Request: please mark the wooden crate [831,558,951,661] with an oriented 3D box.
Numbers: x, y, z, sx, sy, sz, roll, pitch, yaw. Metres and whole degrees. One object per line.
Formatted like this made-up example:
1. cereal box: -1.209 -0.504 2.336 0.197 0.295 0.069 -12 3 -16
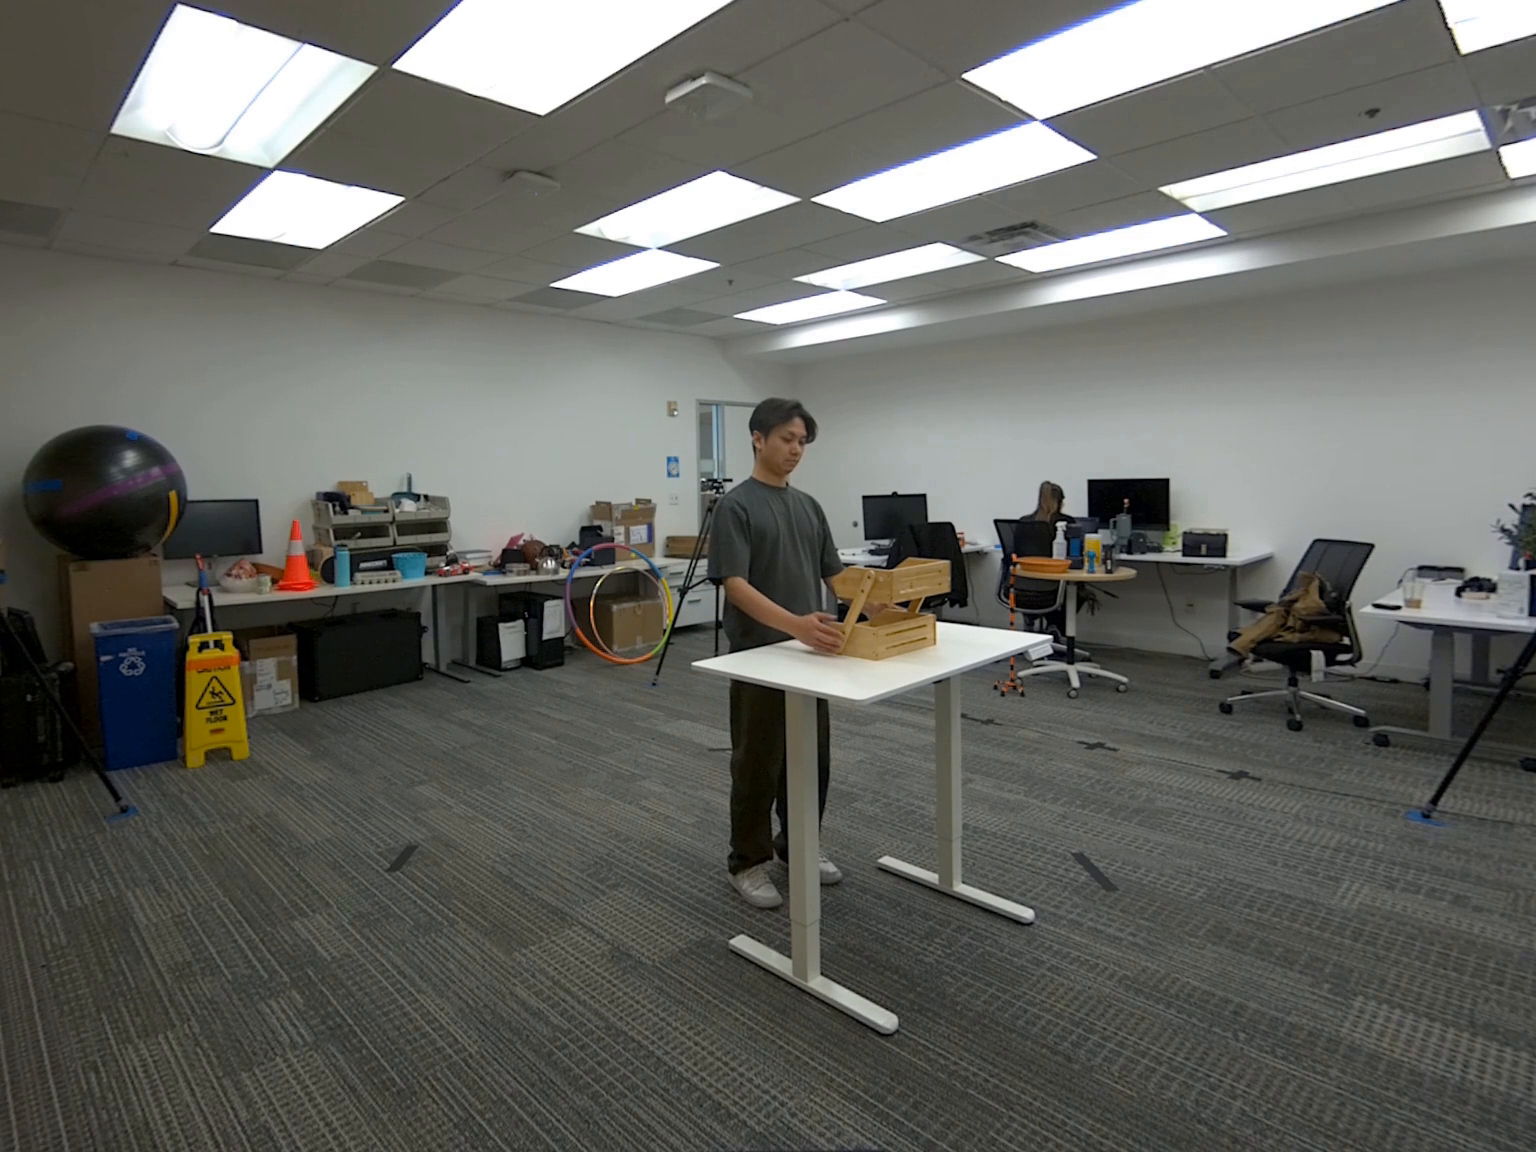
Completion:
1. wooden crate: 0.336 0.084 2.566 0.316 0.272 0.311 -8 9 -44
